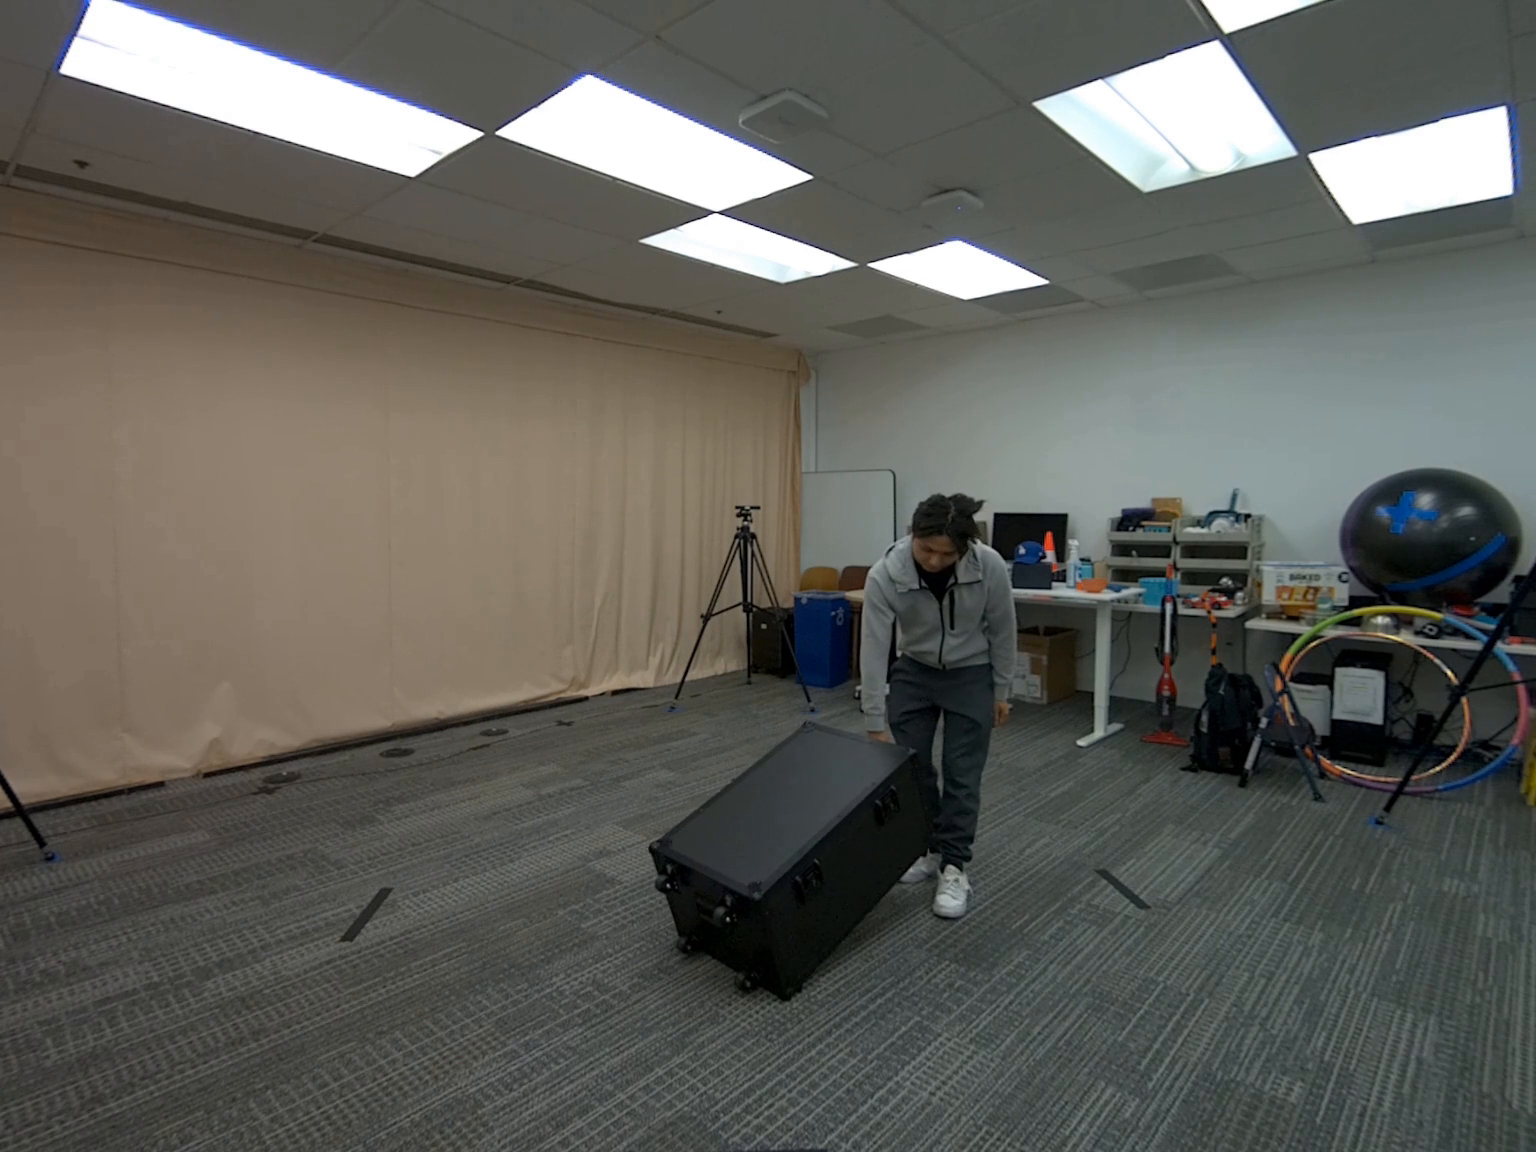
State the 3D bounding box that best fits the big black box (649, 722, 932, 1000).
[{"bbox_3d":[0.080,0.887,2.710,0.539,0.390,0.845,4,26,46],"label":"big black box"}]
